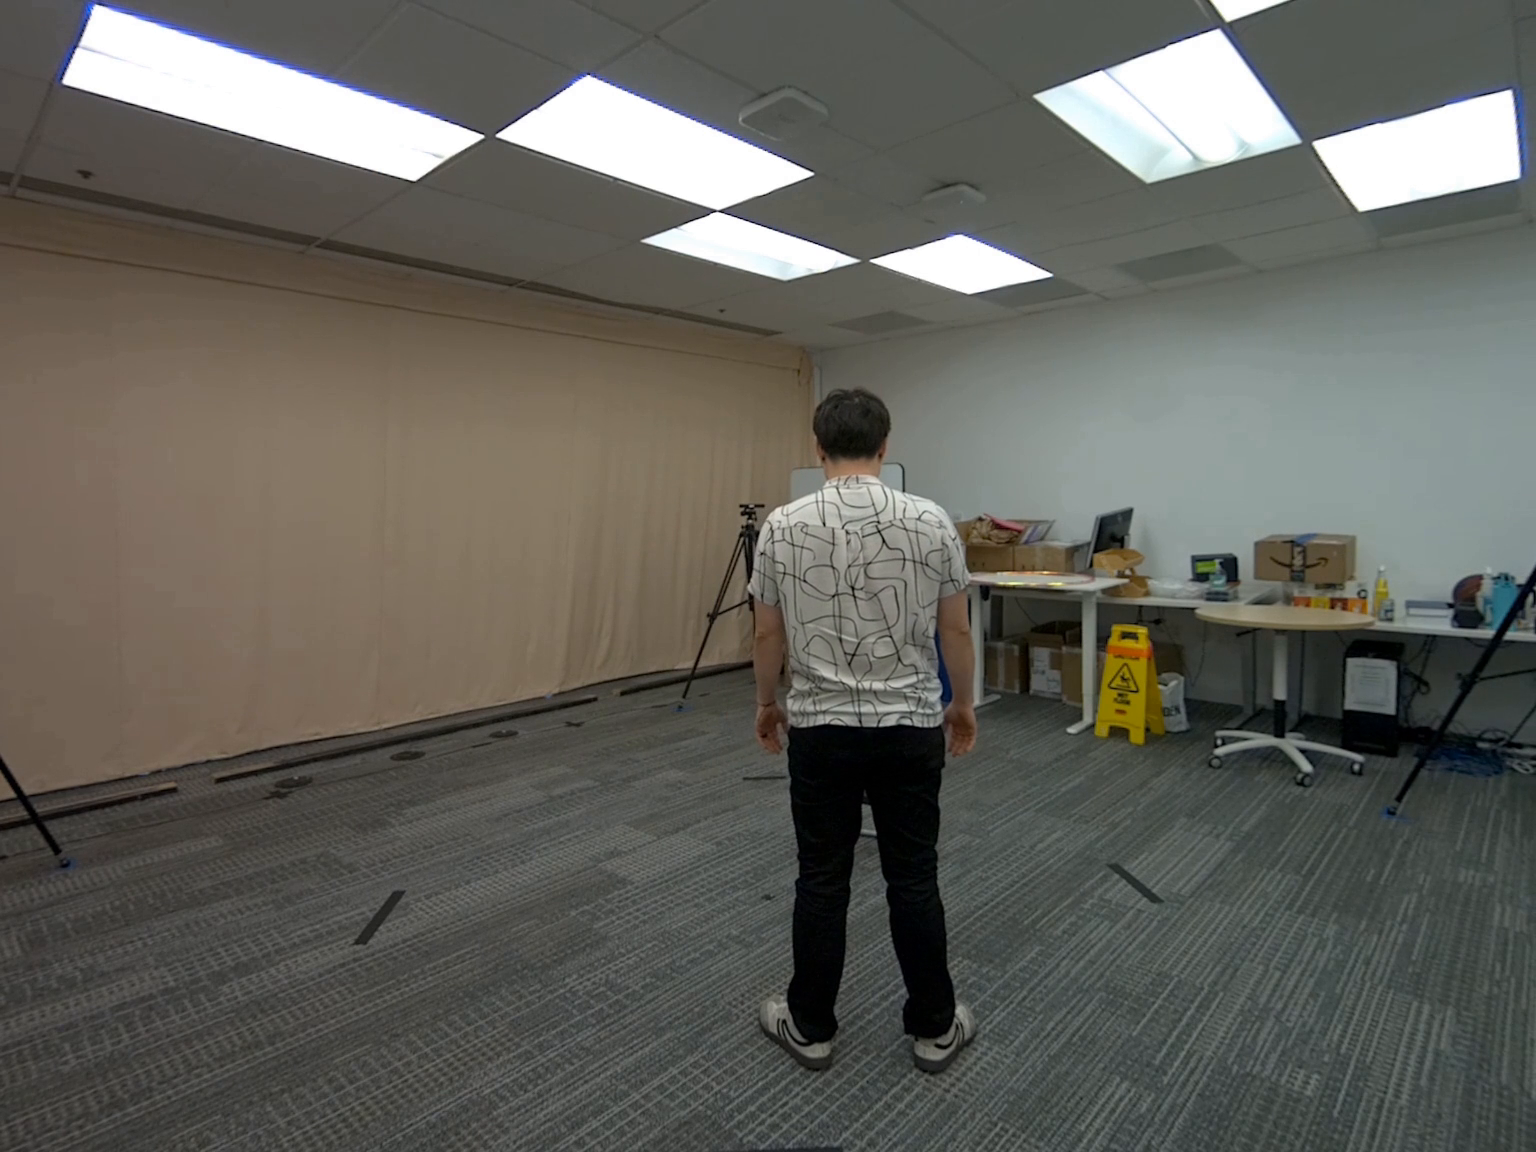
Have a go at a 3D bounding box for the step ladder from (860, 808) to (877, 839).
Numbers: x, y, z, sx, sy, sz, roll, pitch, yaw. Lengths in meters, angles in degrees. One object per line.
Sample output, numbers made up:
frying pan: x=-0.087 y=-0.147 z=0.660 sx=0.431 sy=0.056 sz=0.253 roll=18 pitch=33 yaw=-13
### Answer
step ladder: x=0.419 y=0.796 z=3.338 sx=0.440 sy=0.605 sz=0.342 roll=1 pitch=3 yaw=22
